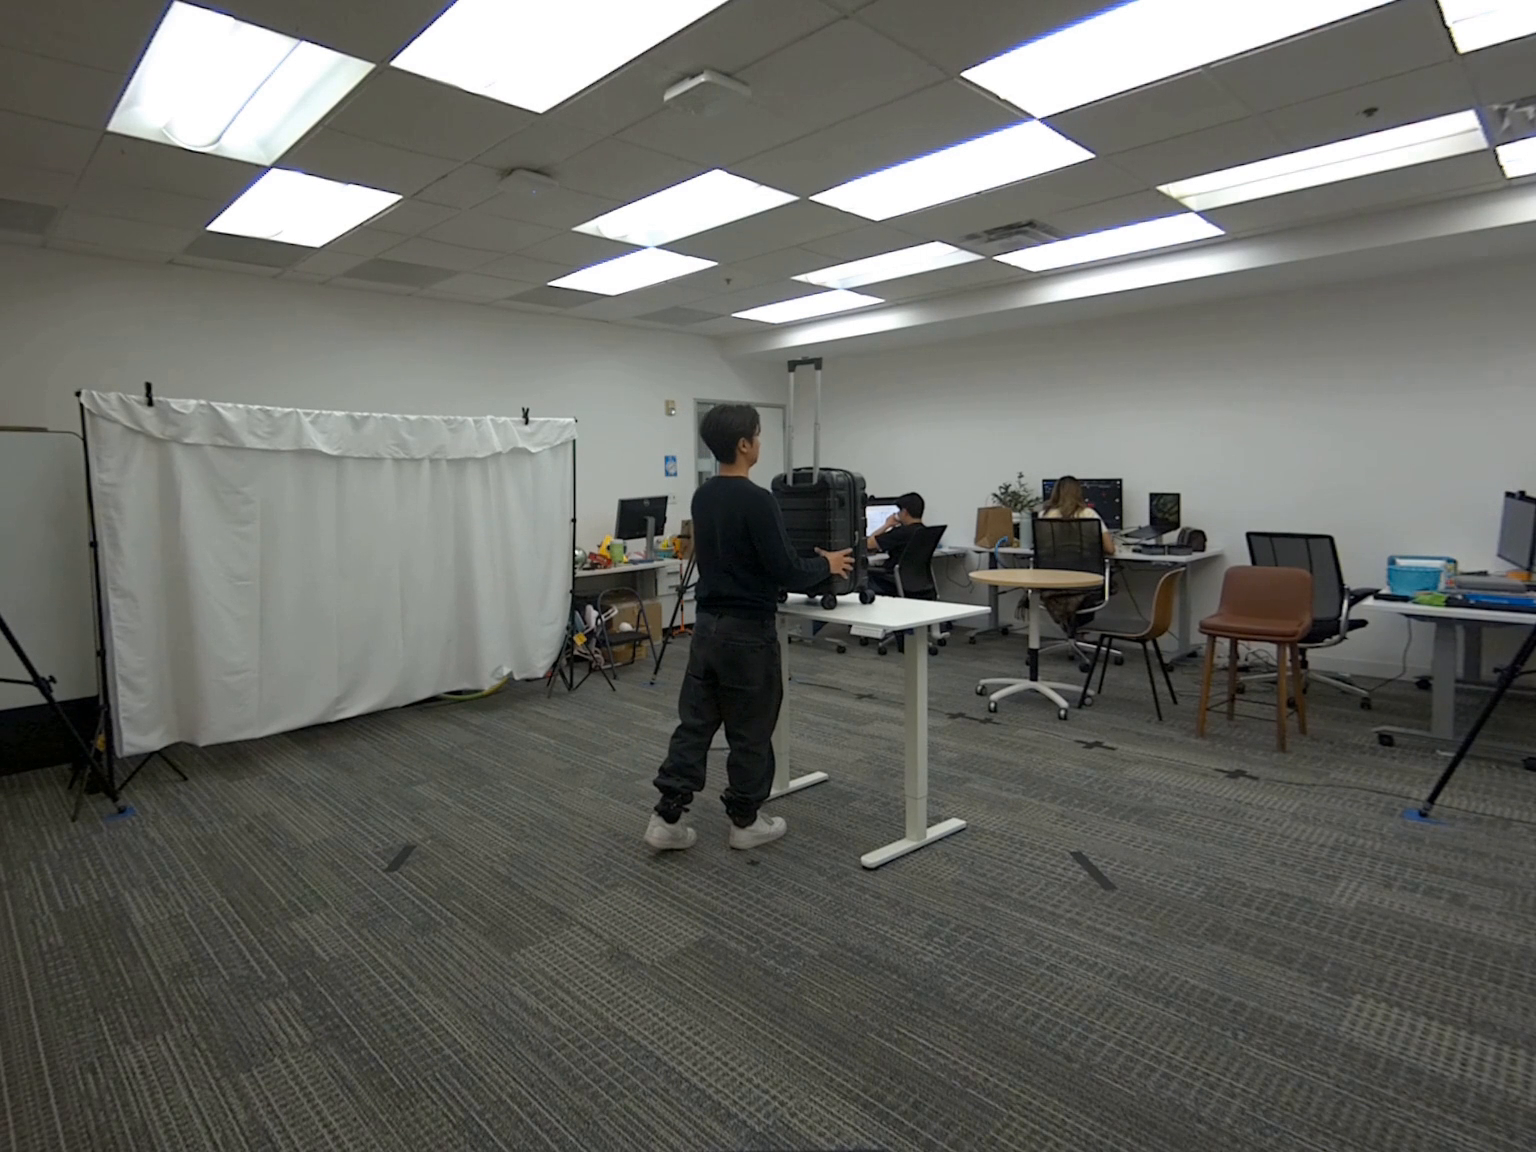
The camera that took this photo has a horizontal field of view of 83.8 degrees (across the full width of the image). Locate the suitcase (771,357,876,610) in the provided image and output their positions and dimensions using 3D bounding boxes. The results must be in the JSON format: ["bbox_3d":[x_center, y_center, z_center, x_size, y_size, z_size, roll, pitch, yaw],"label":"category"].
[{"bbox_3d":[0.209,-0.372,3.475,0.396,0.977,0.250,2,3,44],"label":"suitcase"}]
